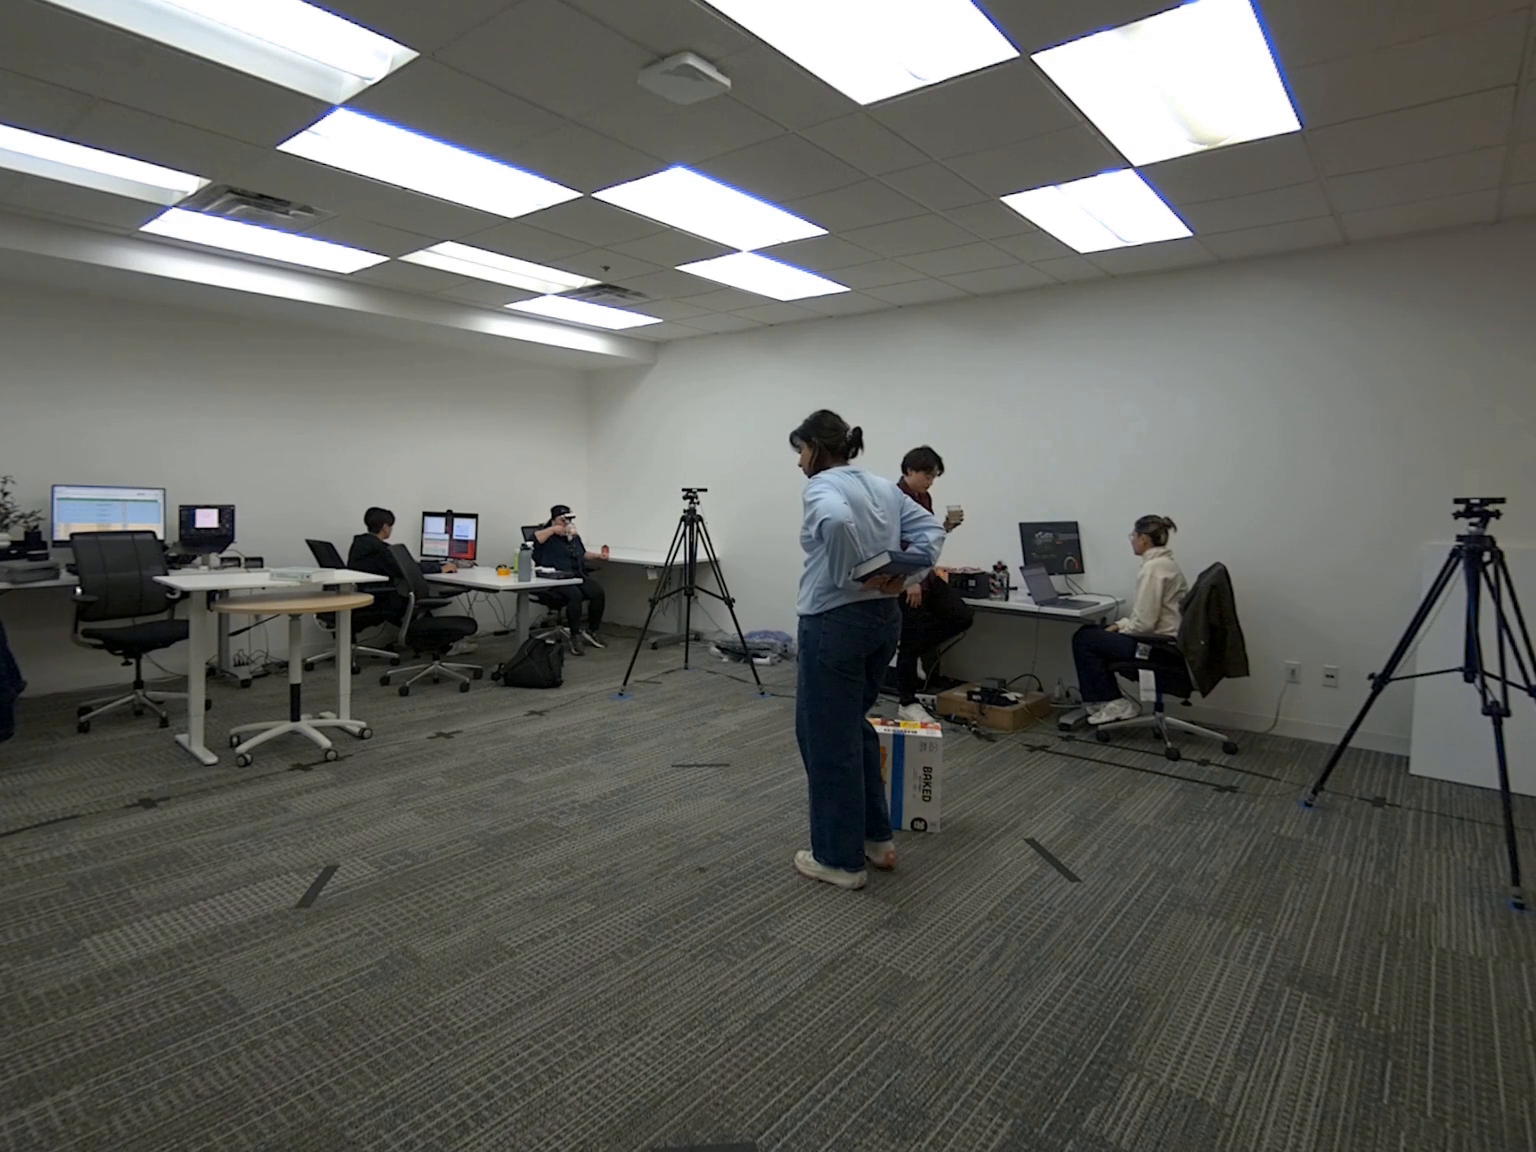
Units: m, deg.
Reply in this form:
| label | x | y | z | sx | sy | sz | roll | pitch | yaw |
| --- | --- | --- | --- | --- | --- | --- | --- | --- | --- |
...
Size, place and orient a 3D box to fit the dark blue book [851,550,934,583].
| label | x | y | z | sx | sy | sz | roll | pitch | yaw |
| --- | --- | --- | --- | --- | --- | --- | --- | --- | --- |
| dark blue book | 0.394 | -0.030 | 2.796 | 0.165 | 0.046 | 0.237 | -28 | -21 | 38 |
